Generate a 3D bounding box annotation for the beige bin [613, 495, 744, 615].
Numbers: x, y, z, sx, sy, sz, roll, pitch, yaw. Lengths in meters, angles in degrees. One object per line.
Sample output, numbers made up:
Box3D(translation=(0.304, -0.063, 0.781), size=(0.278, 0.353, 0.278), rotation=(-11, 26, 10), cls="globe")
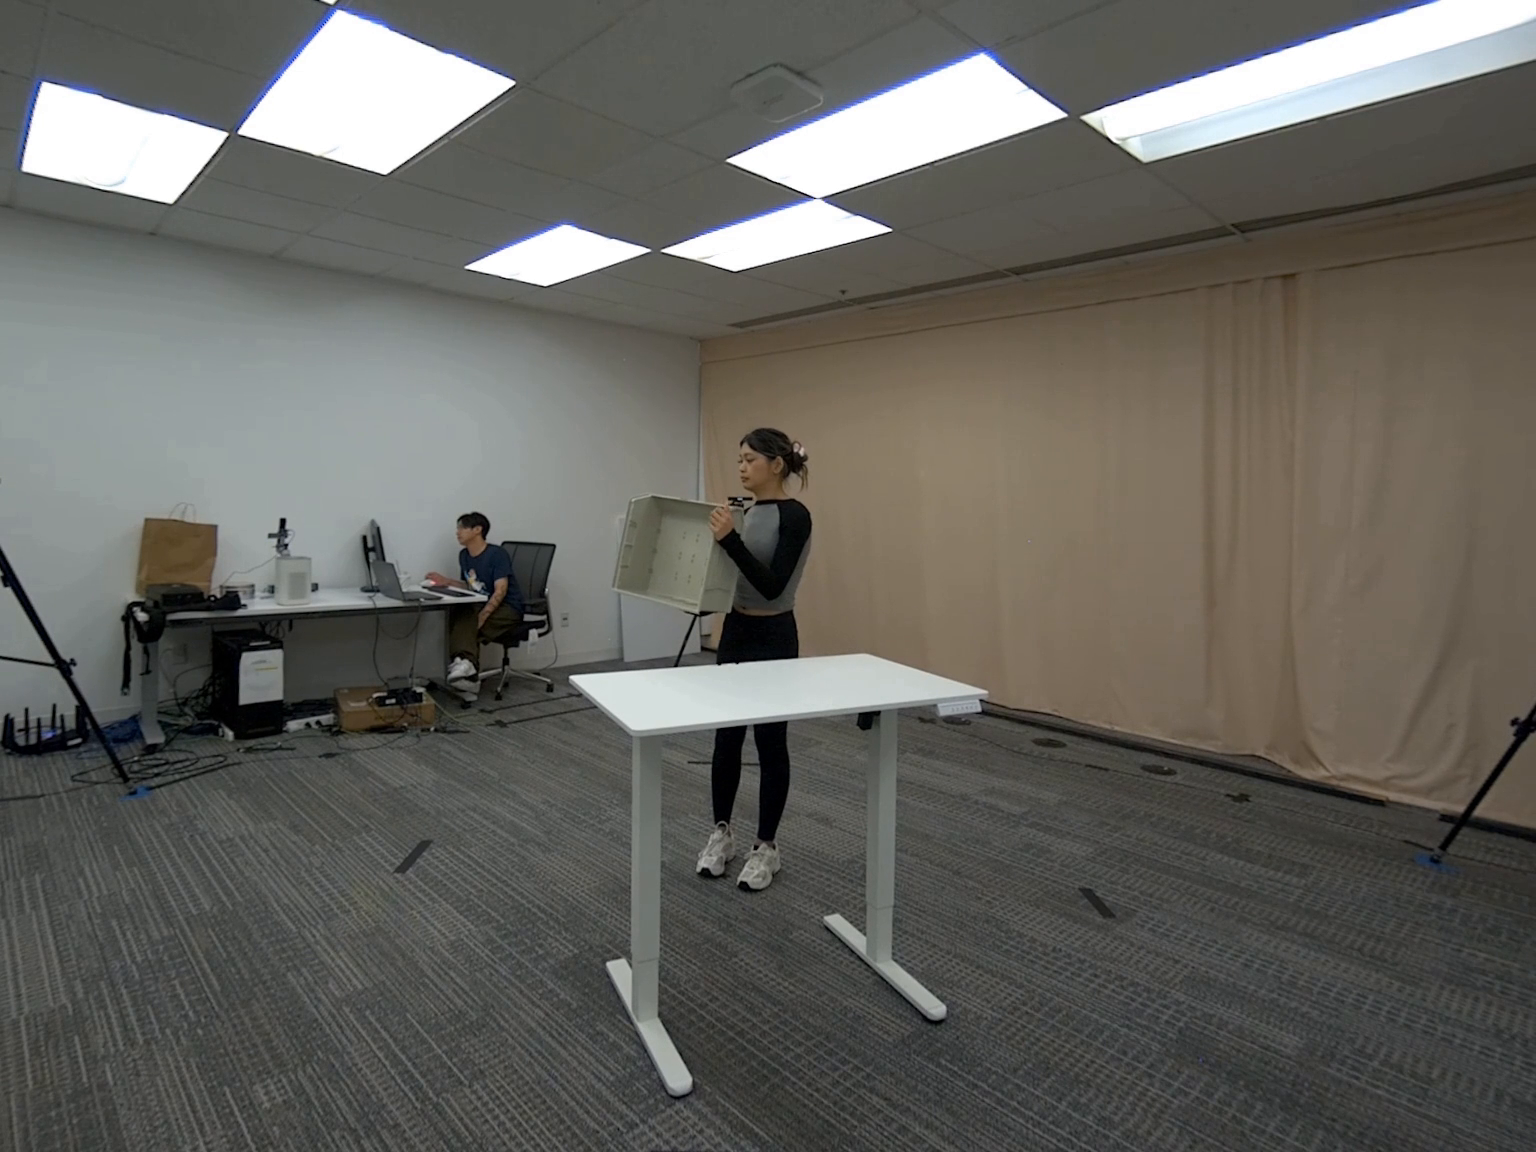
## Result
Box3D(translation=(-0.319, -0.084, 2.967), size=(0.434, 0.377, 0.184), rotation=(11, 0, 38), cls="beige bin")
